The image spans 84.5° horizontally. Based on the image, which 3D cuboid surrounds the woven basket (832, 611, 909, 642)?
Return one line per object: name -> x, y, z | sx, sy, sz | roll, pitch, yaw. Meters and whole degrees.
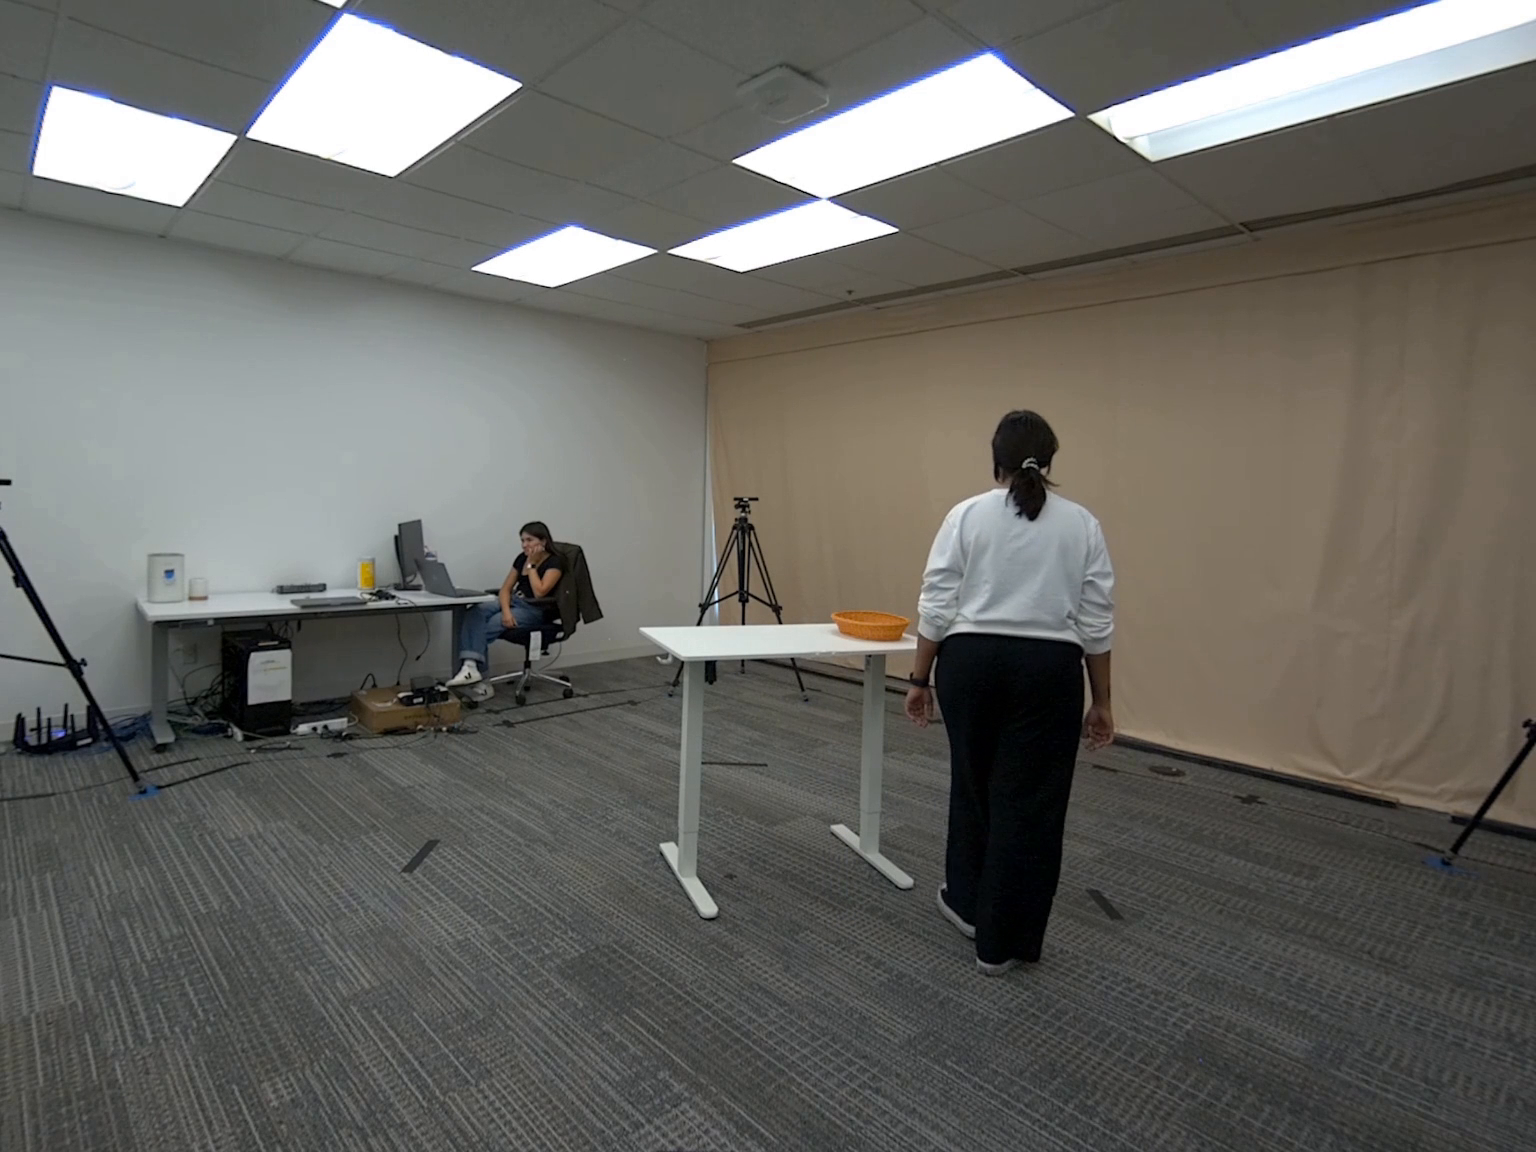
woven basket -> 0.396, 0.200, 3.236 | 0.249, 0.073, 0.356 | -2, 7, -17
